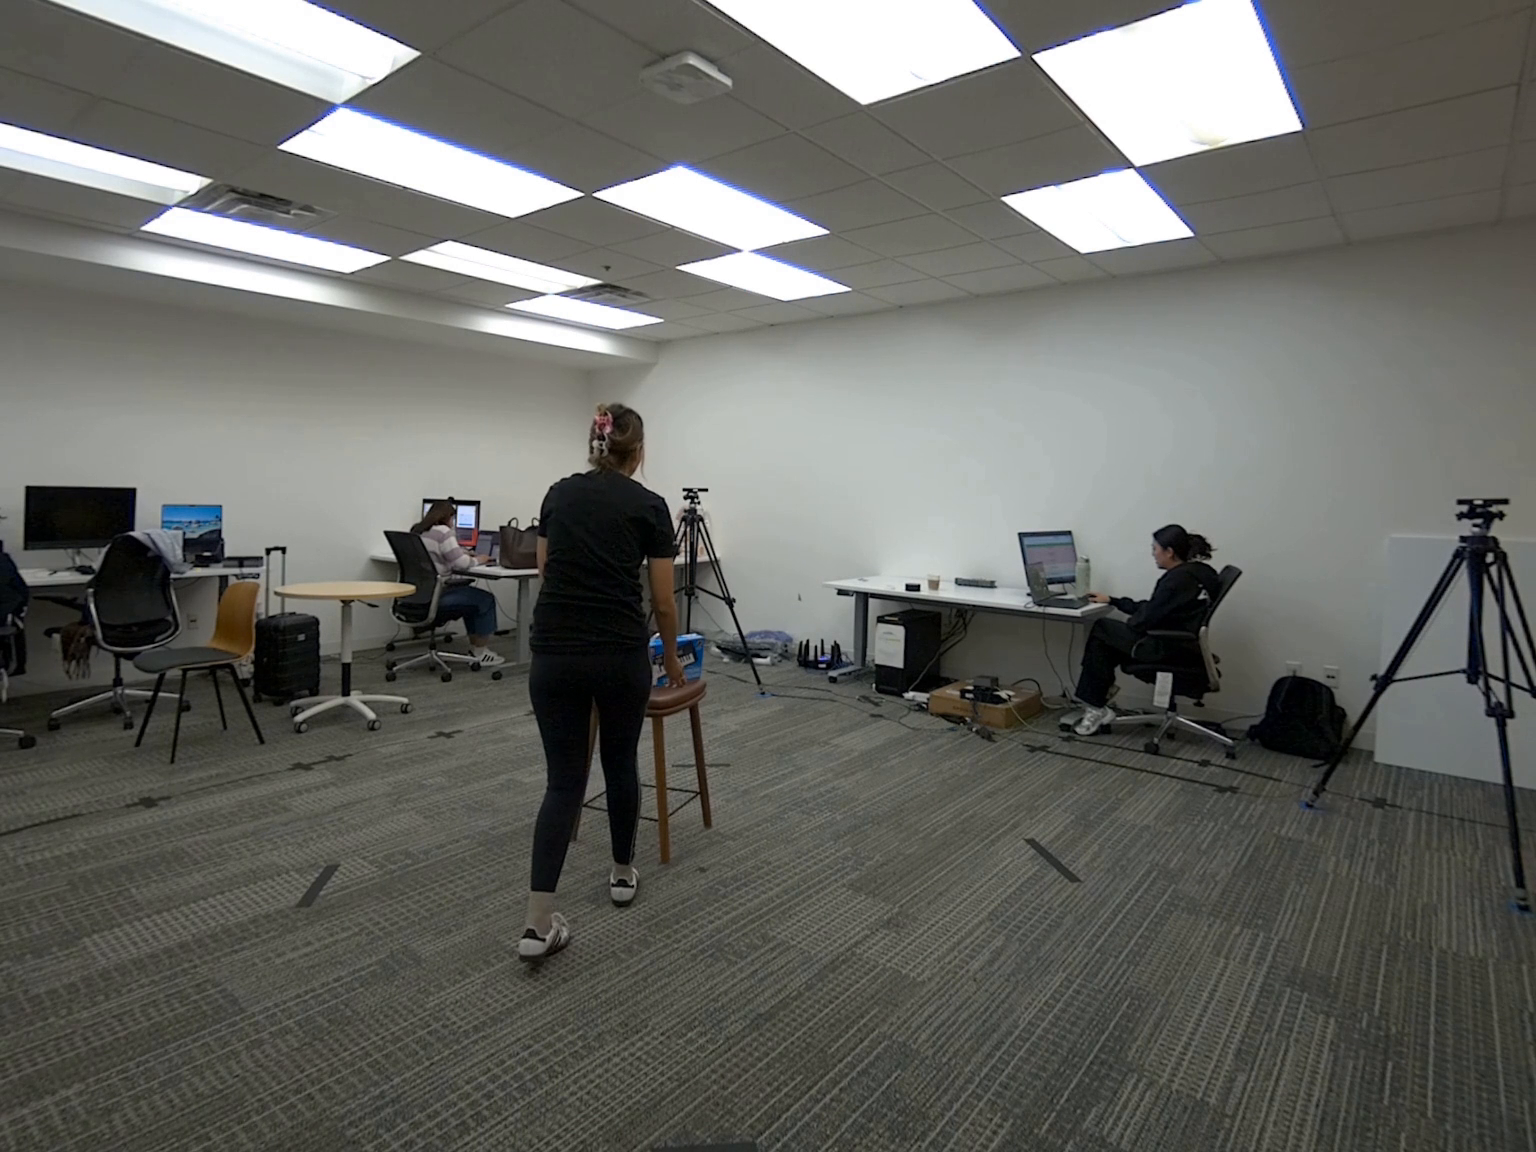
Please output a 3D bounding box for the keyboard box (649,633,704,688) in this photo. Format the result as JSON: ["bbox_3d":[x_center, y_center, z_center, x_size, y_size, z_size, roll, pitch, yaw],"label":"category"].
[{"bbox_3d":[-0.445,0.343,3.349,0.061,0.174,0.424,13,12,42],"label":"keyboard box"}]
